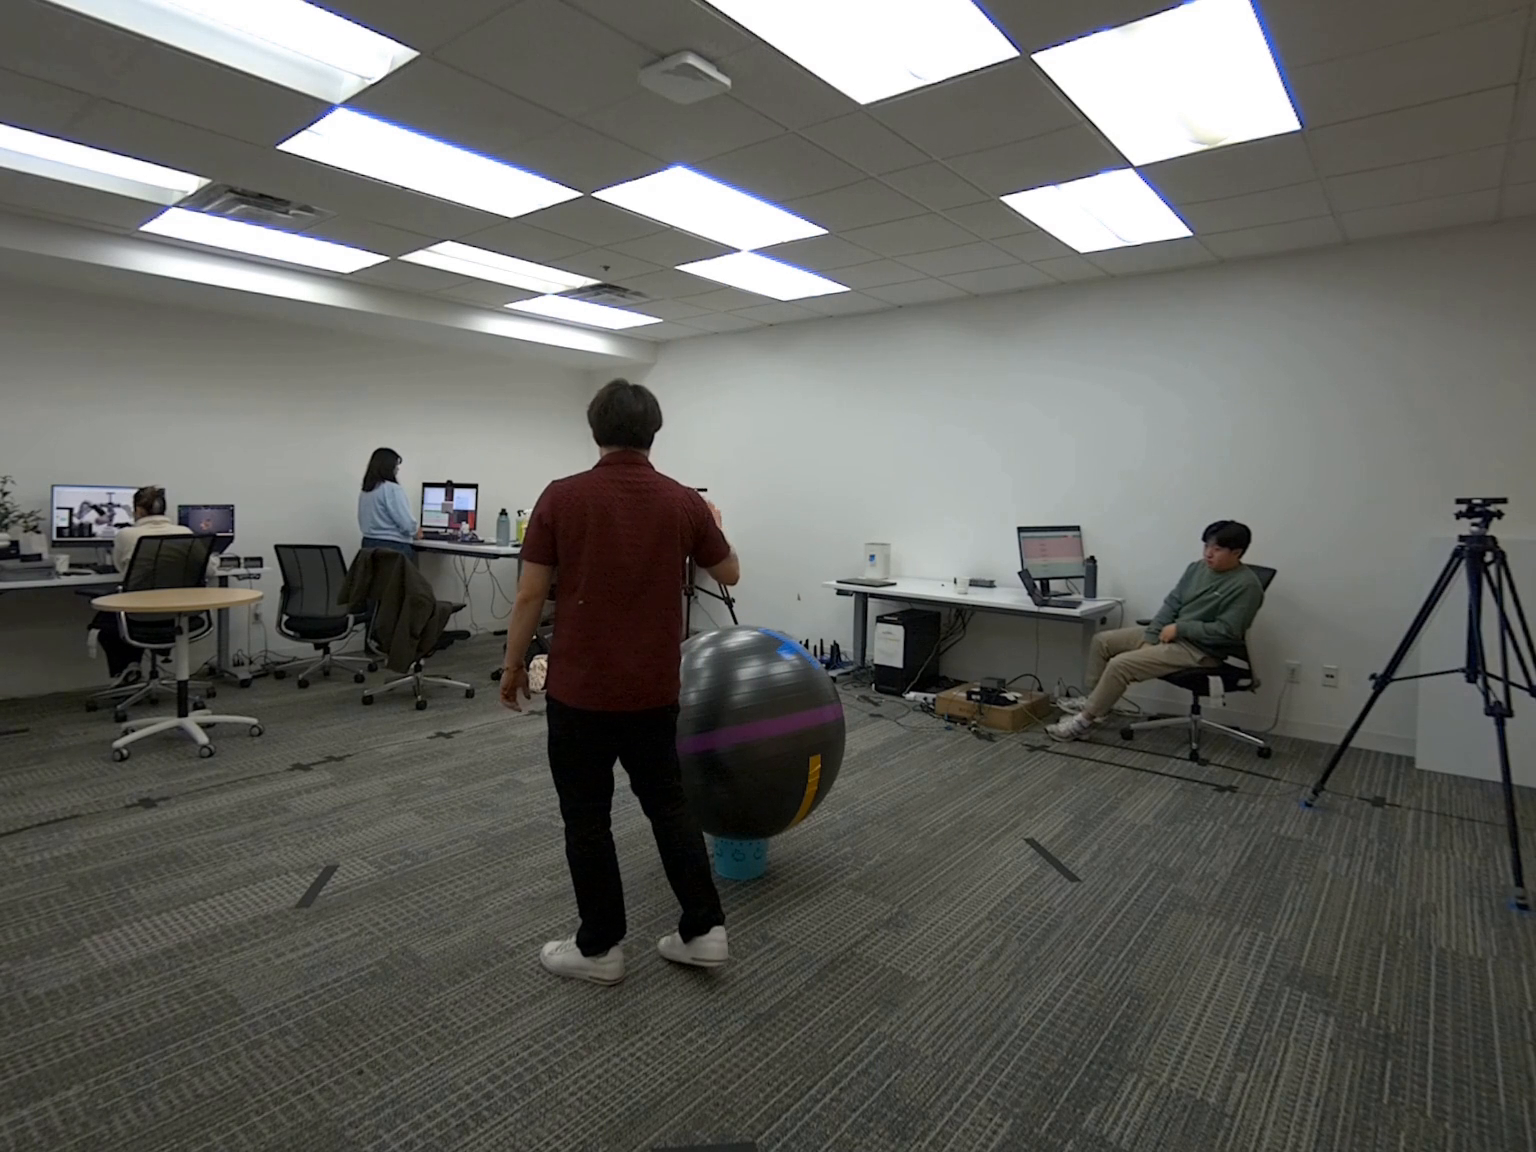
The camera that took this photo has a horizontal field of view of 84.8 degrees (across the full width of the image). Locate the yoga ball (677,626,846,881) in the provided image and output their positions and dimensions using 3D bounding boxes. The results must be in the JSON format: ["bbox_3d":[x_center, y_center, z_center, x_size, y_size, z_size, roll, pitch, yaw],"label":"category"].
[{"bbox_3d":[-0.105,0.565,3.119,0.757,0.755,0.762,1,4,-2],"label":"yoga ball"}]
